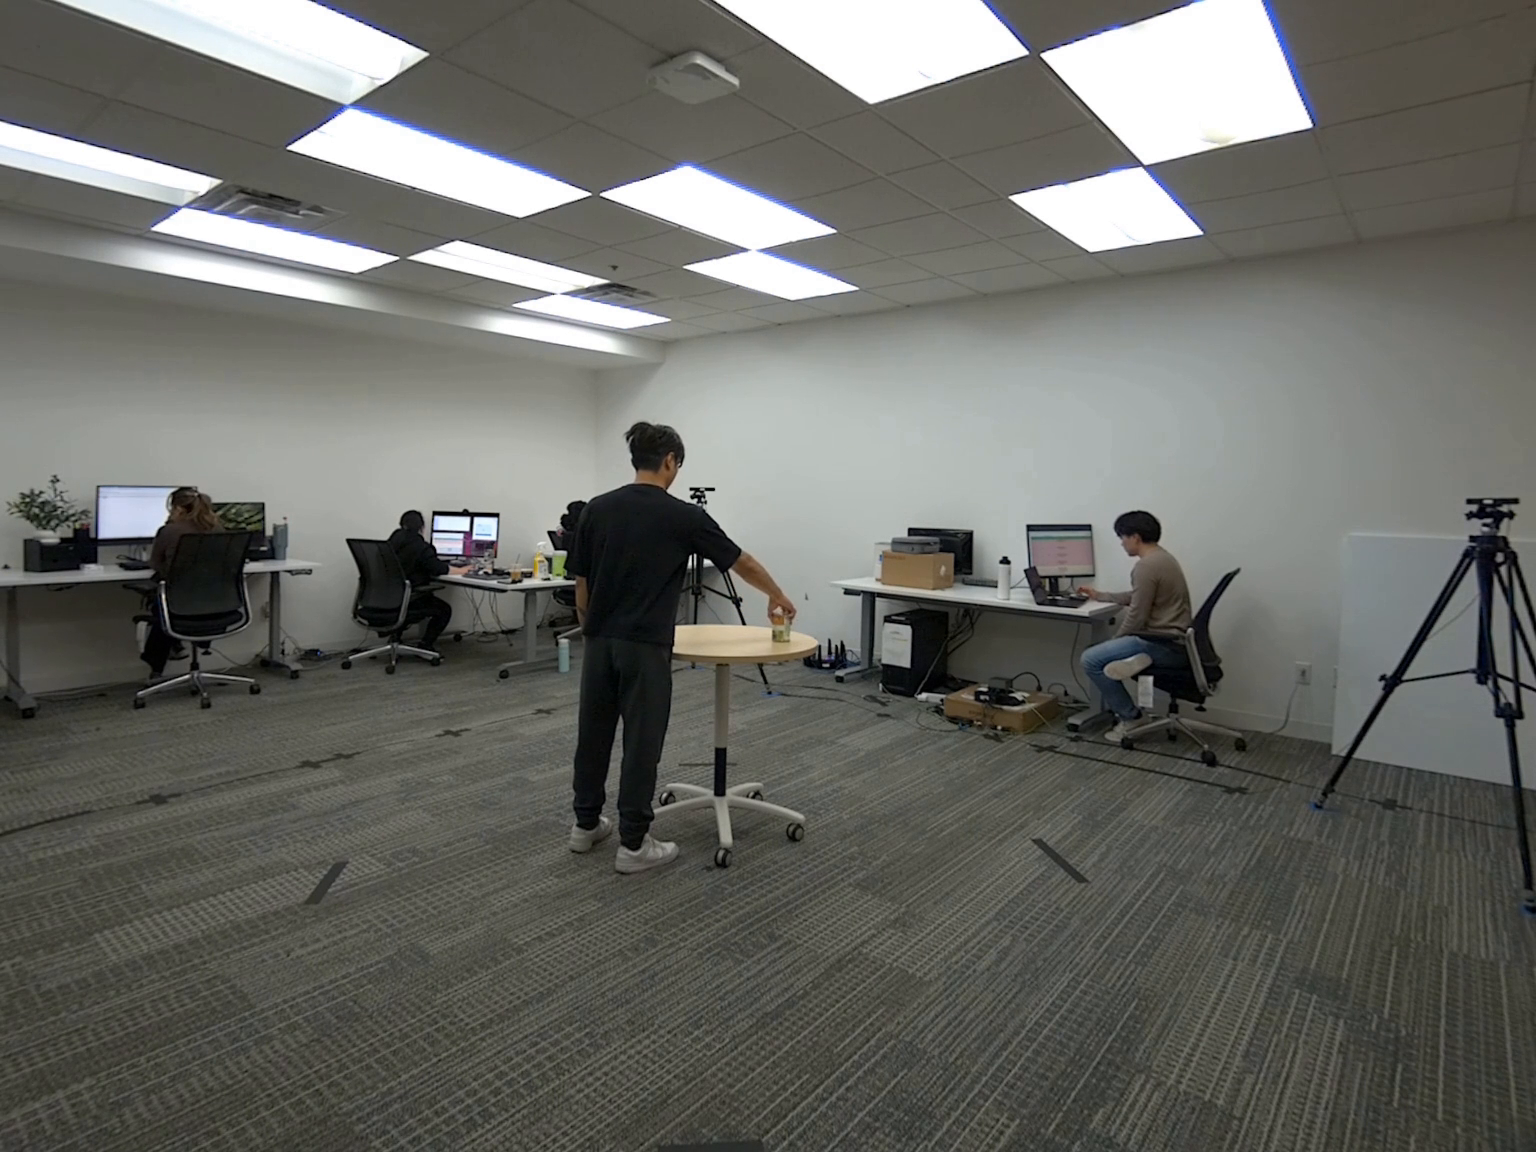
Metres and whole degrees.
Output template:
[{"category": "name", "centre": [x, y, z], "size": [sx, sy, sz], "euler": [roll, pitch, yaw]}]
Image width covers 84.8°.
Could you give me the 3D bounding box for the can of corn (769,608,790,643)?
[{"category": "can of corn", "centre": [0.039, 0.202, 3.435], "size": [0.074, 0.111, 0.074], "euler": [2, 4, -2]}]
